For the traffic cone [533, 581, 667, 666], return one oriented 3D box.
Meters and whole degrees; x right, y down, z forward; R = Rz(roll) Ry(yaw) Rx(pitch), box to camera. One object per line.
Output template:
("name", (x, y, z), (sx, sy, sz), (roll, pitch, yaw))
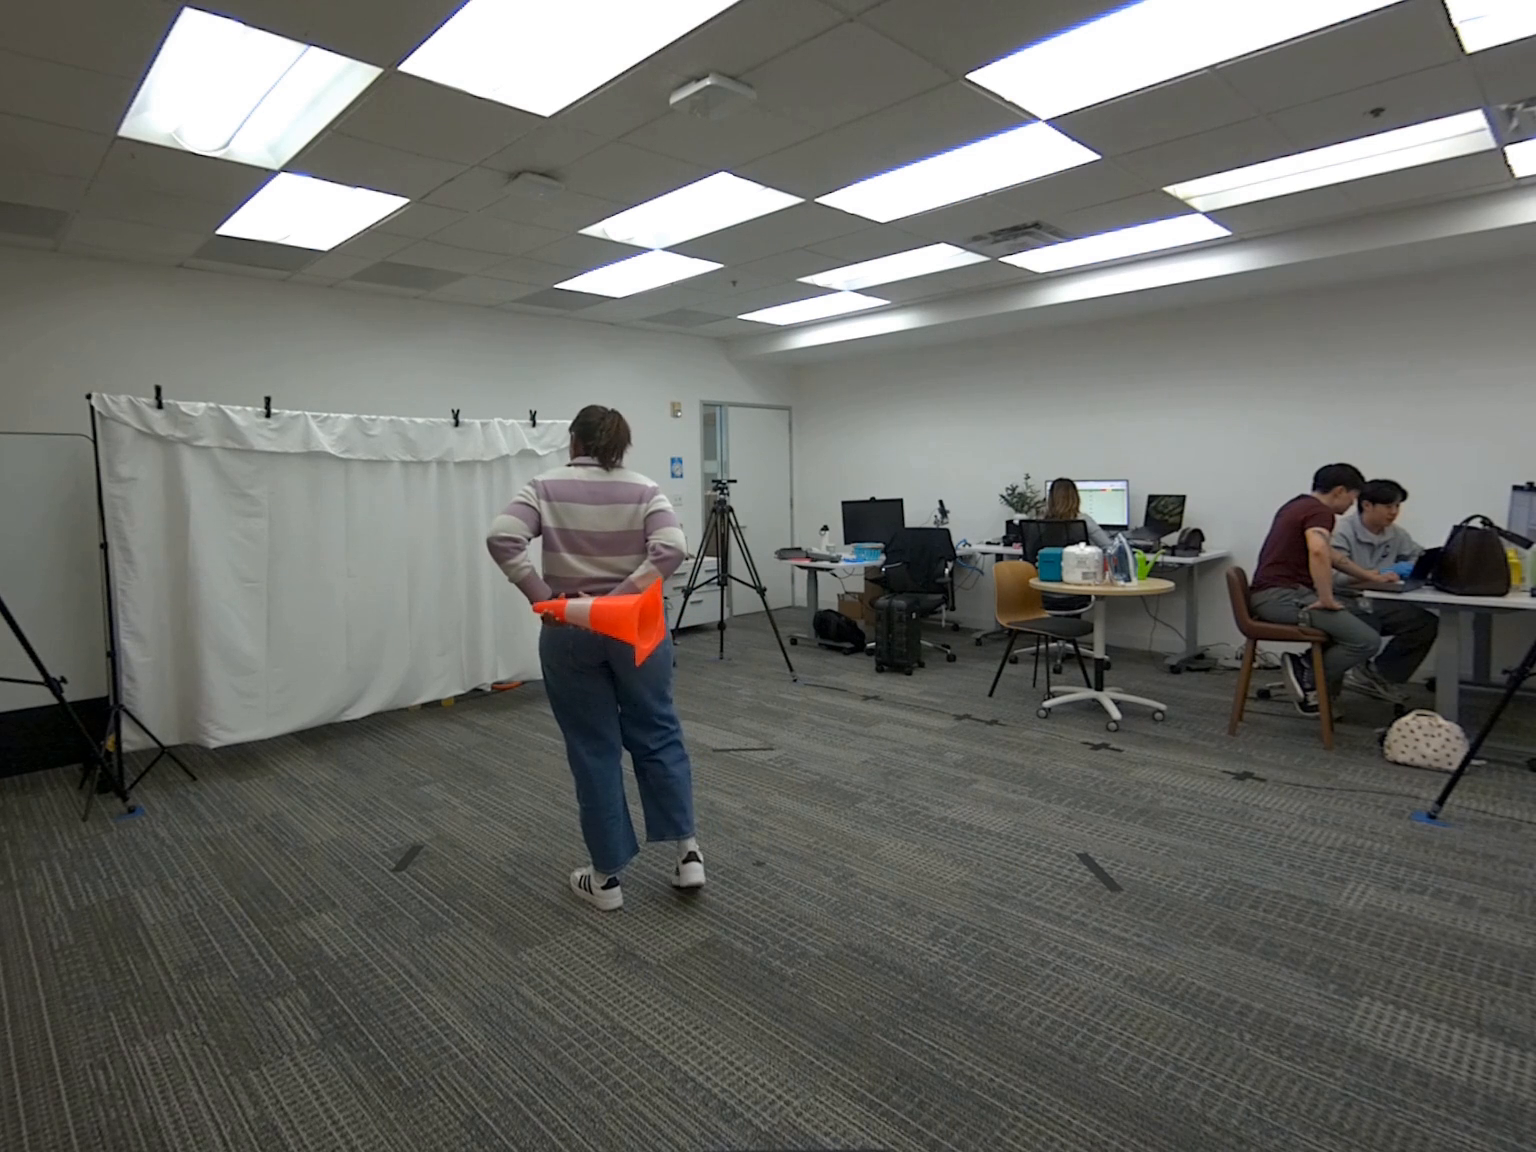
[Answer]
("traffic cone", (-0.517, 0.121, 2.534), (0.390, 0.201, 0.204), (4, 25, 17))
